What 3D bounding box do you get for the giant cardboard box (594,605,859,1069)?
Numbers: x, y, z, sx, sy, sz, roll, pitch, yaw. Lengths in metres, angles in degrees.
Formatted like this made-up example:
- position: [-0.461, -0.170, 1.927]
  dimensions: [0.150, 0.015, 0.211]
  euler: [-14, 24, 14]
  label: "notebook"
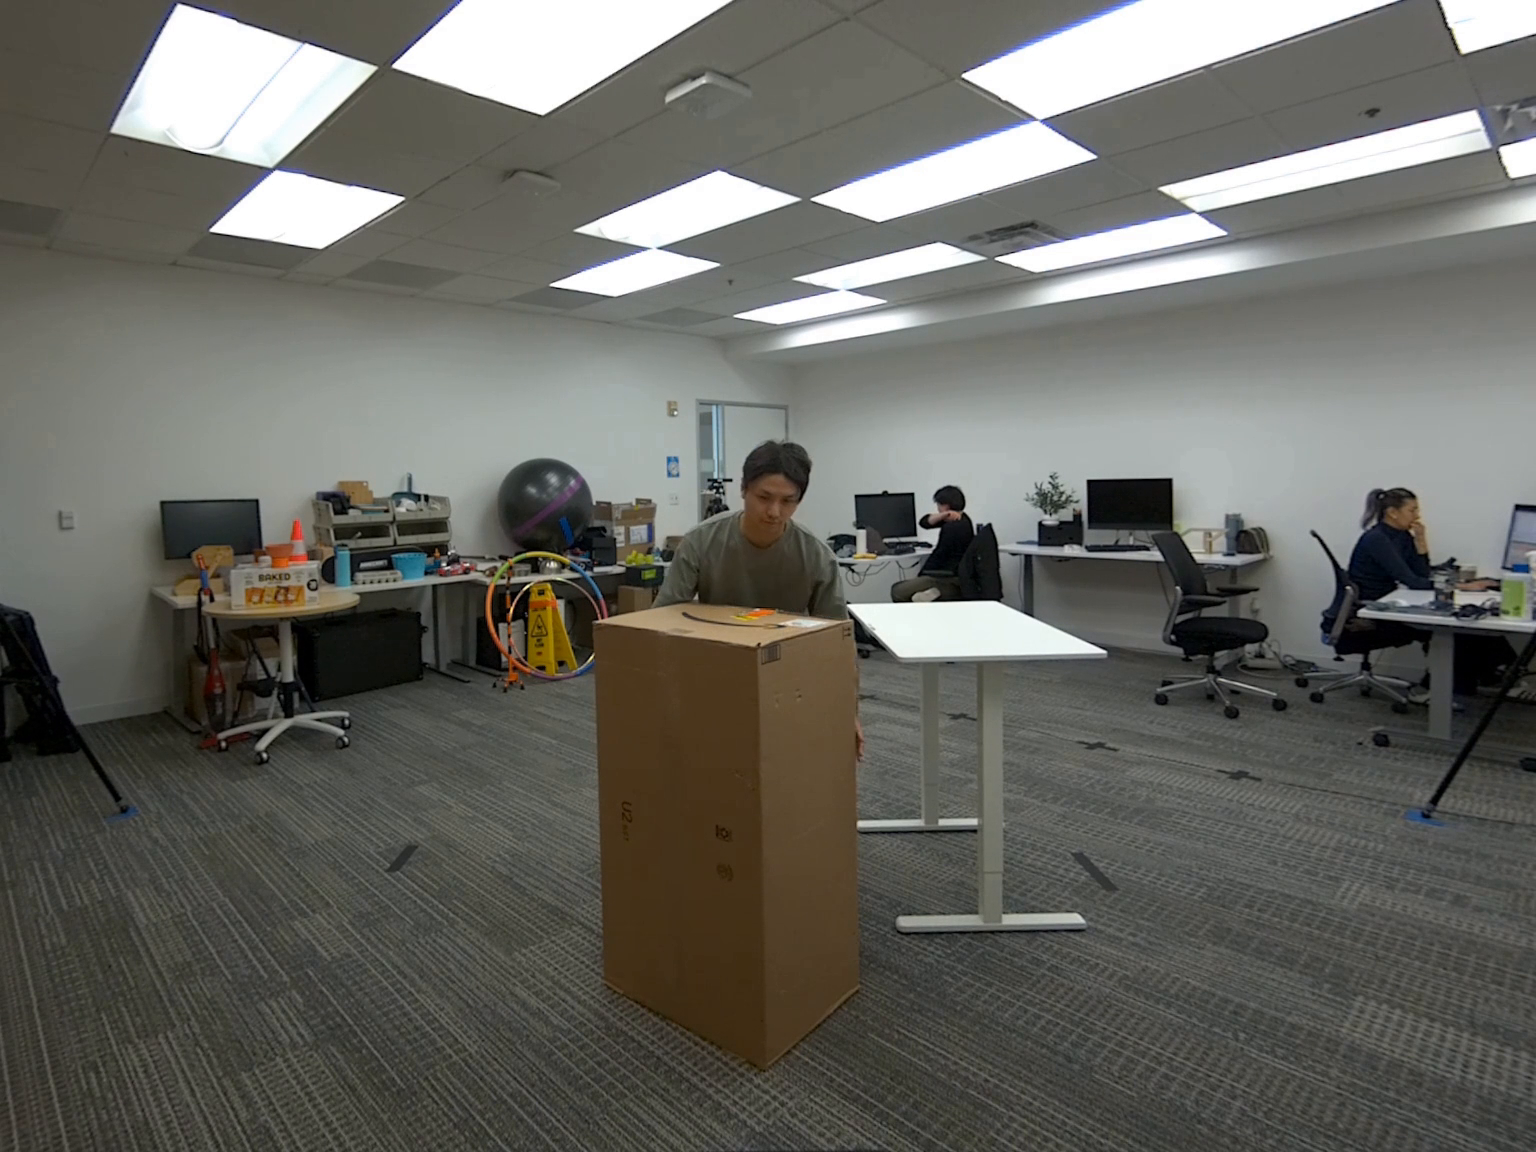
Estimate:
- position: [-0.111, 0.632, 2.324]
  dimensions: [0.594, 1.022, 0.415]
  euler: [2, 5, 38]
  label: "giant cardboard box"
